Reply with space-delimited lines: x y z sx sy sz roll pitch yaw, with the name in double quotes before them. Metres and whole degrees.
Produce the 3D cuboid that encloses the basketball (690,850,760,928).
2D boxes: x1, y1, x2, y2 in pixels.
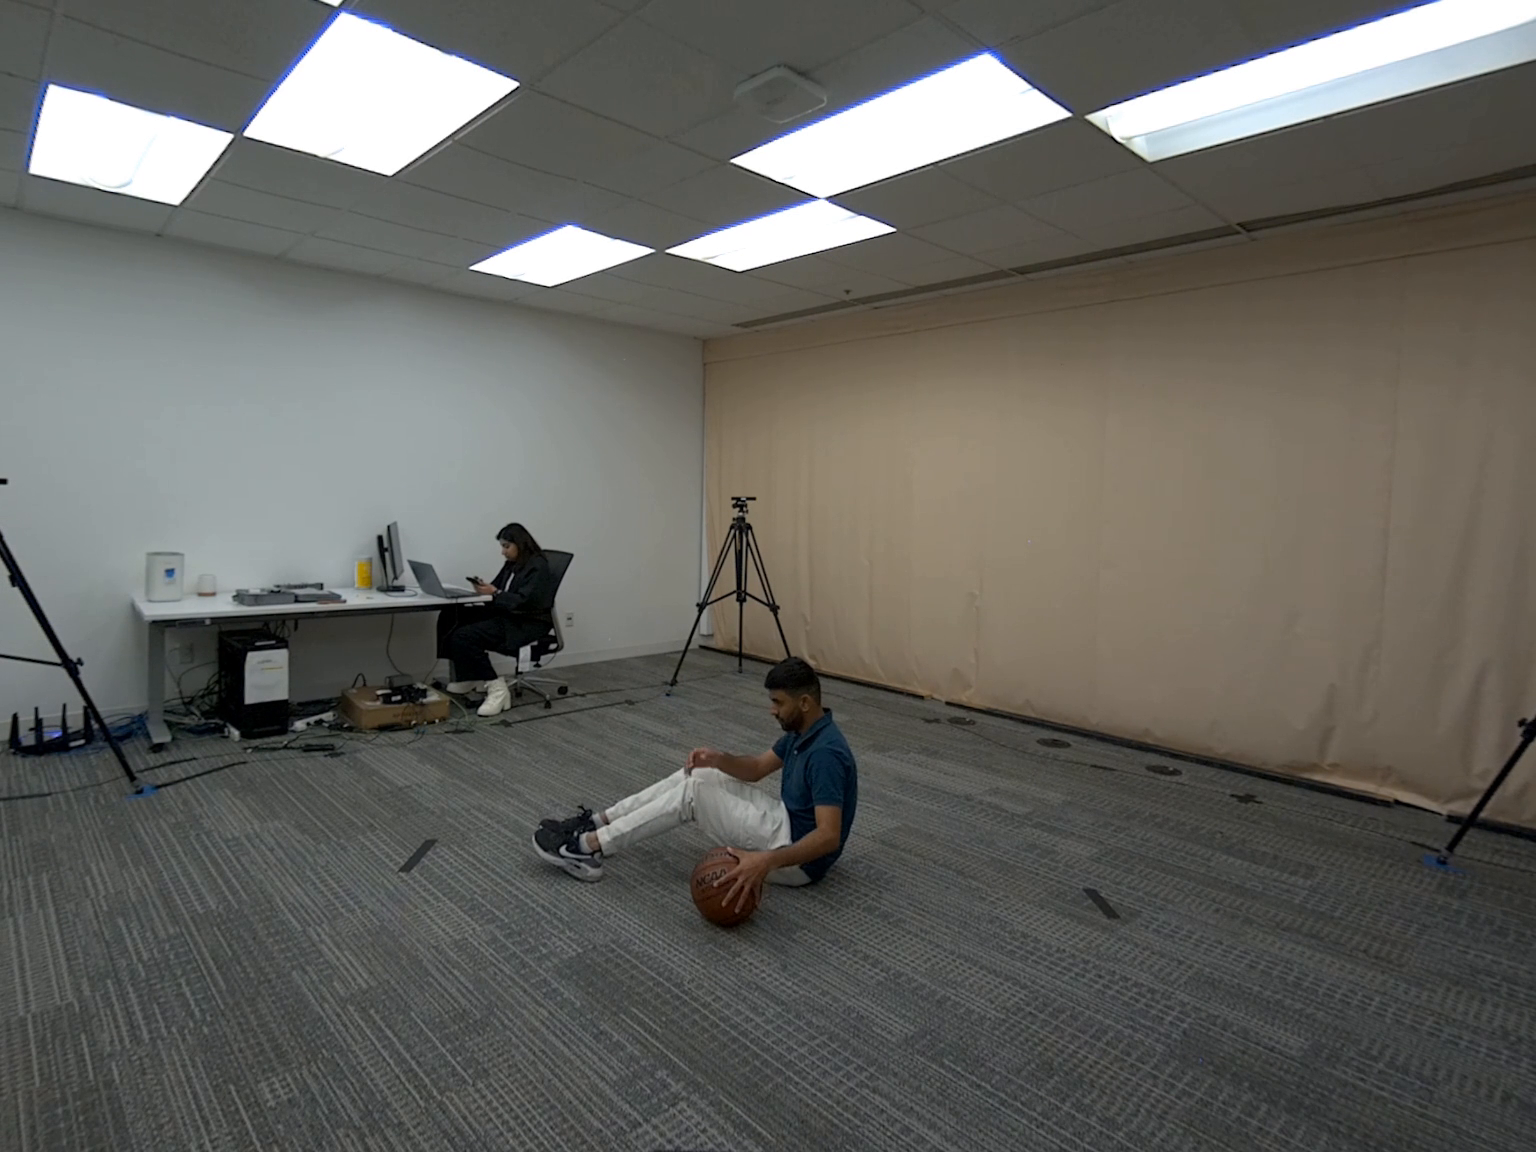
"basketball" -0.146 1.016 2.763 0.236 0.235 0.237 1 4 -1
